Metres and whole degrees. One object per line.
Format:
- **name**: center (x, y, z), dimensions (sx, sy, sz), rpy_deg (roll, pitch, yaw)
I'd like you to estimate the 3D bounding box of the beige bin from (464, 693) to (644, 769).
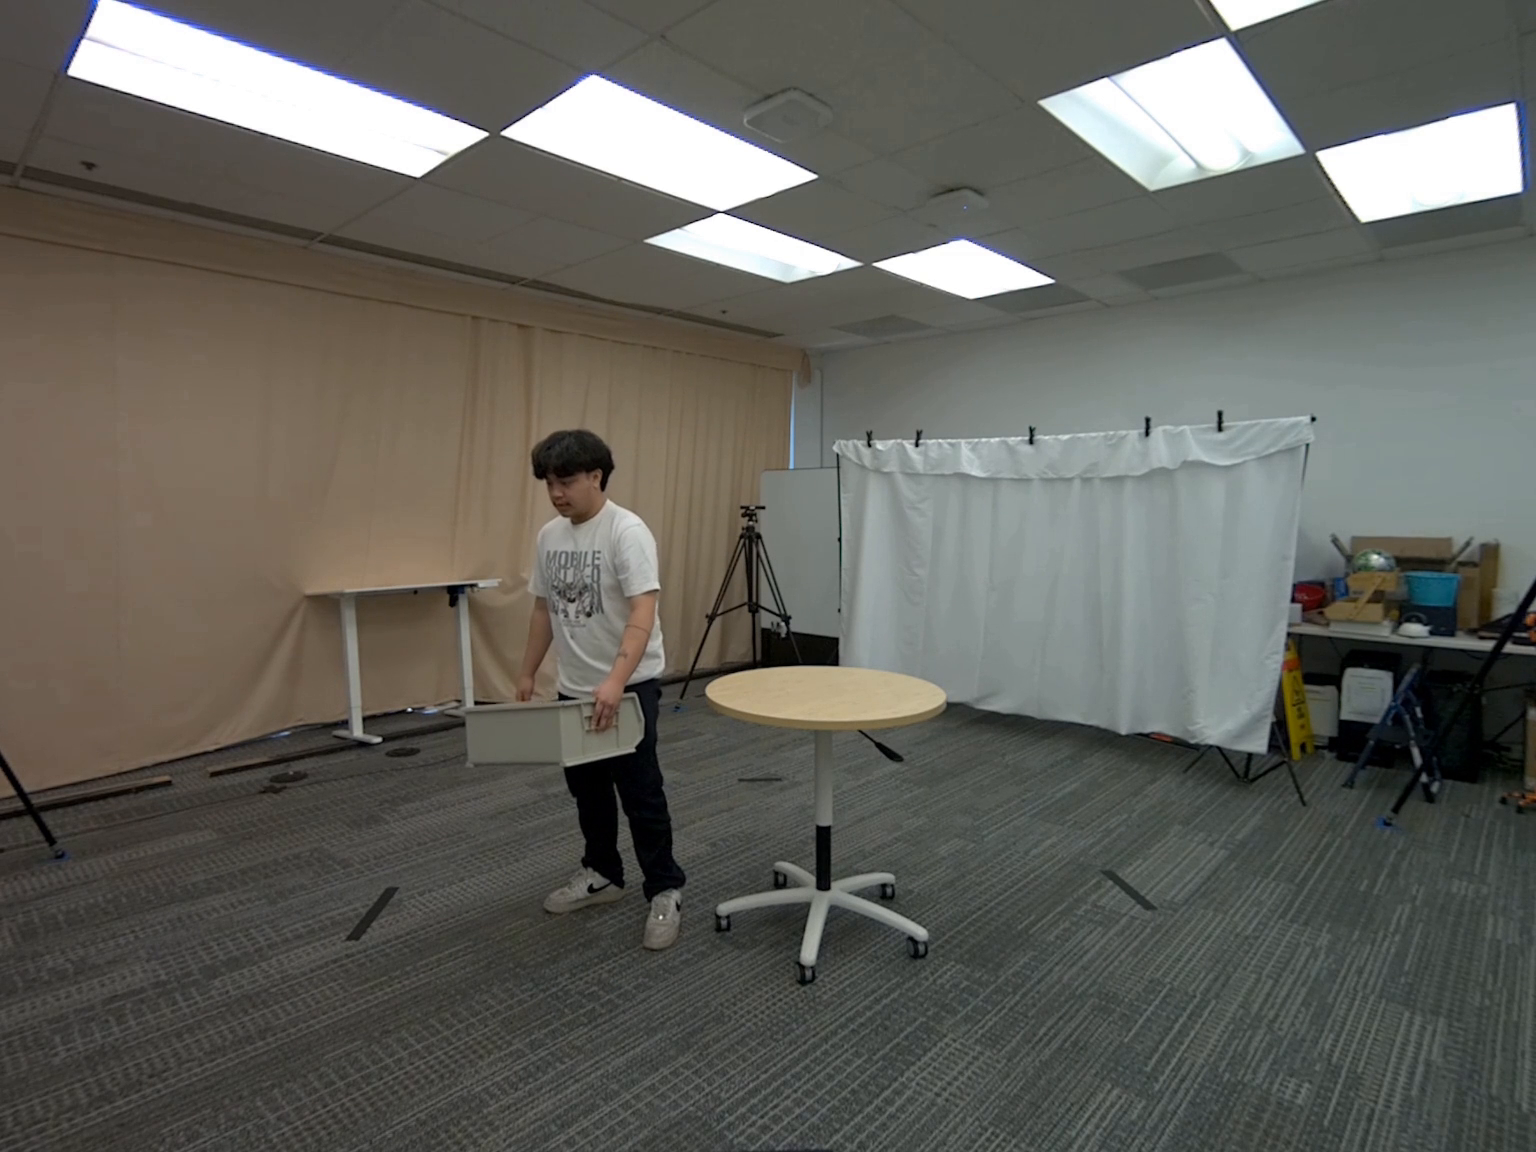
- **beige bin**: center (-0.658, 0.468, 2.598), dimensions (0.433, 0.190, 0.366), rpy_deg (-8, -6, 30)
